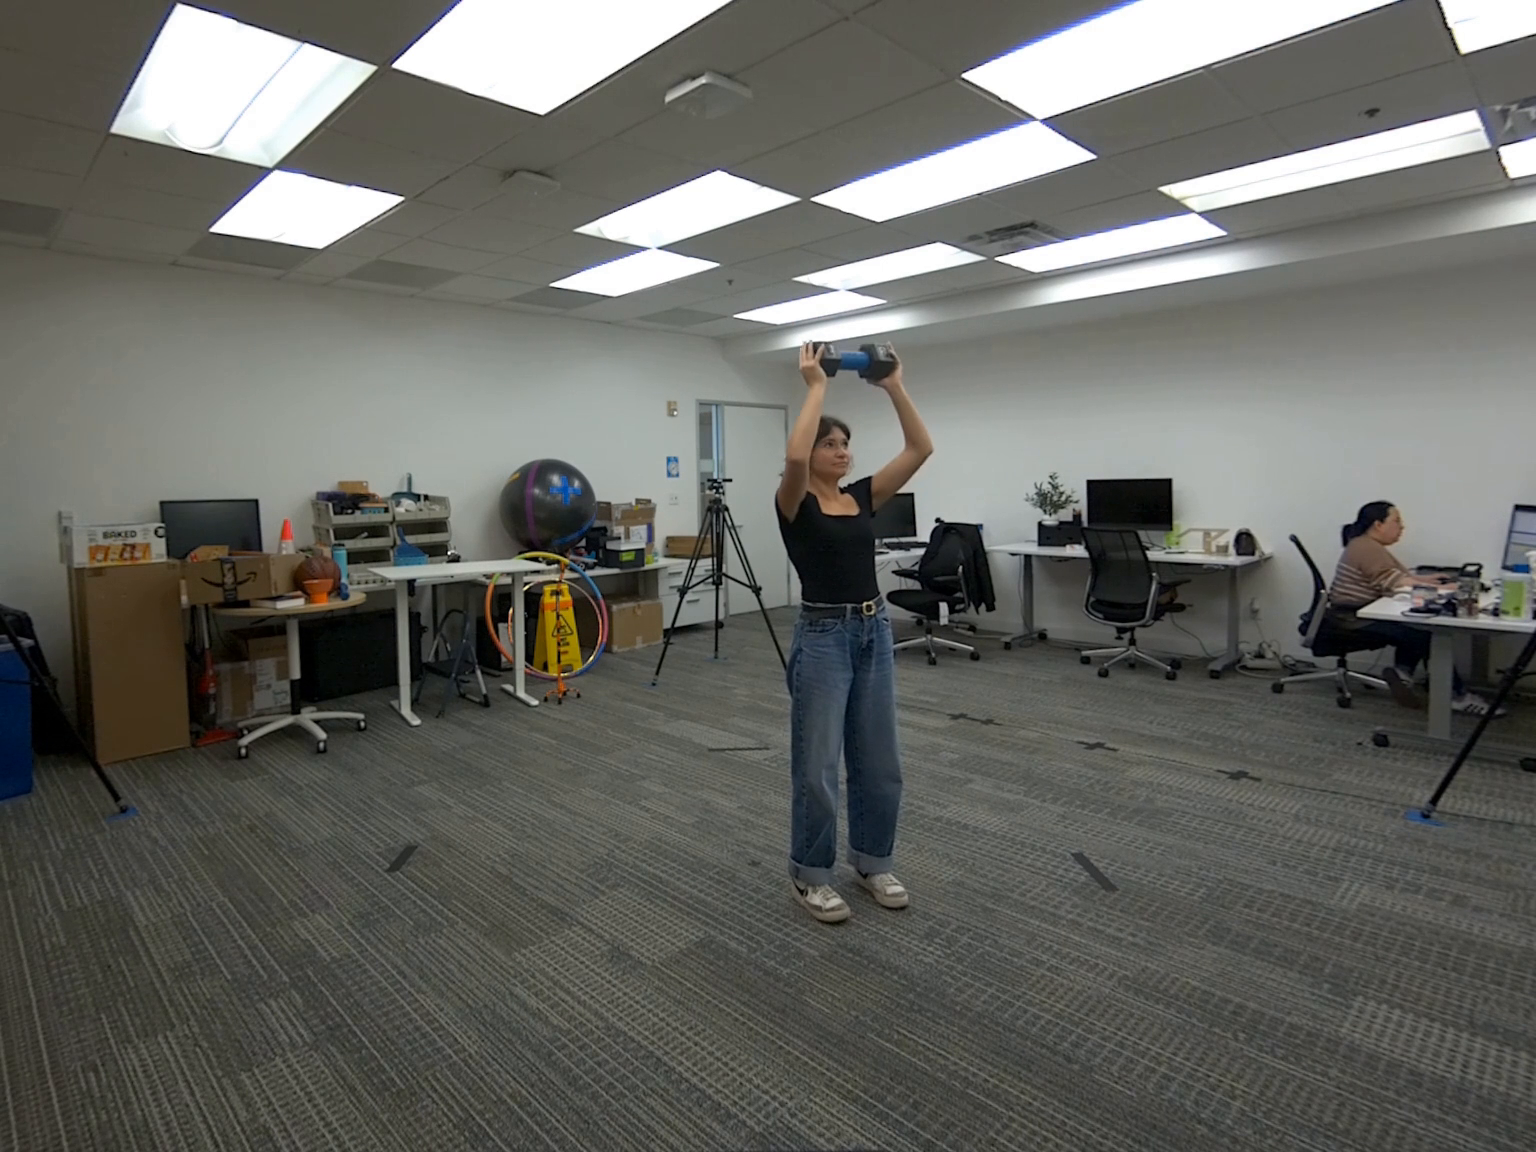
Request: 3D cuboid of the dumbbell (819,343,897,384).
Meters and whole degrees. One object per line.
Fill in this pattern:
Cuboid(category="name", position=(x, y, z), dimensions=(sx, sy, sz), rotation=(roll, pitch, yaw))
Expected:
Cuboid(category="dumbbell", position=(0.259, -0.672, 2.668), dimensions=(0.287, 0.121, 0.113), rotation=(-8, 43, -31))
